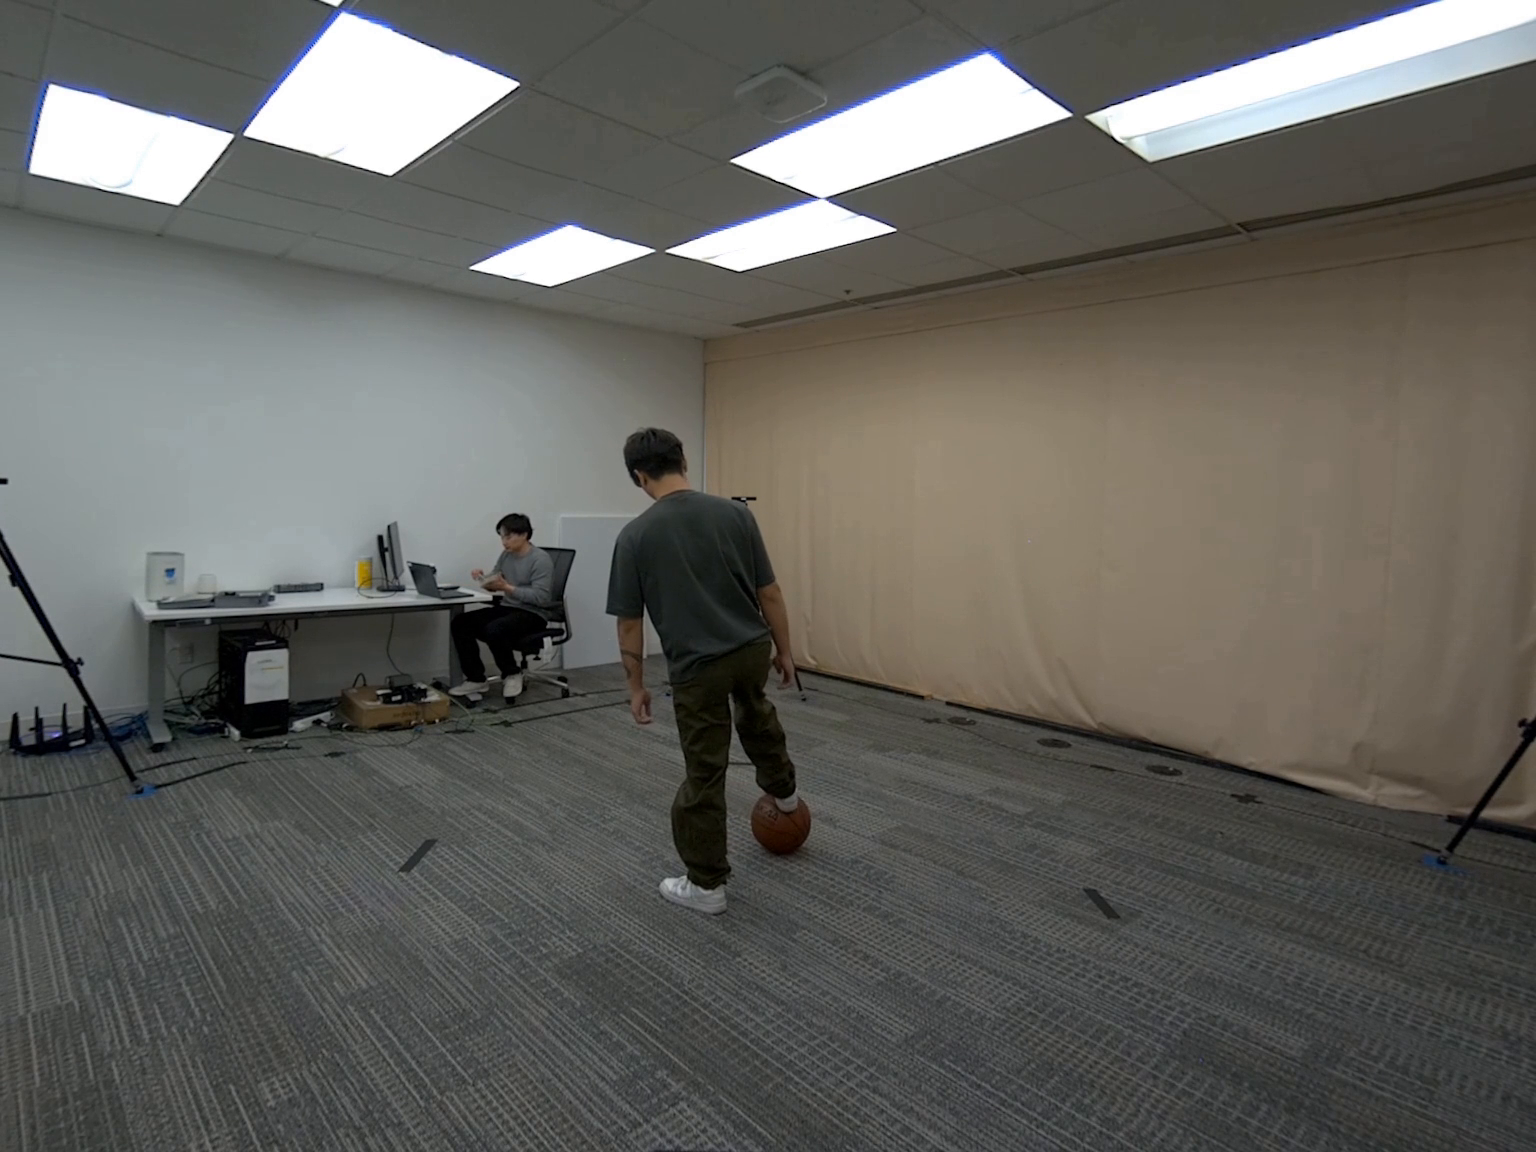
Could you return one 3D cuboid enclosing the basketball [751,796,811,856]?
[{"bbox_3d":[0.041,0.976,3.334,0.236,0.235,0.237,1,4,-1],"label":"basketball"}]
